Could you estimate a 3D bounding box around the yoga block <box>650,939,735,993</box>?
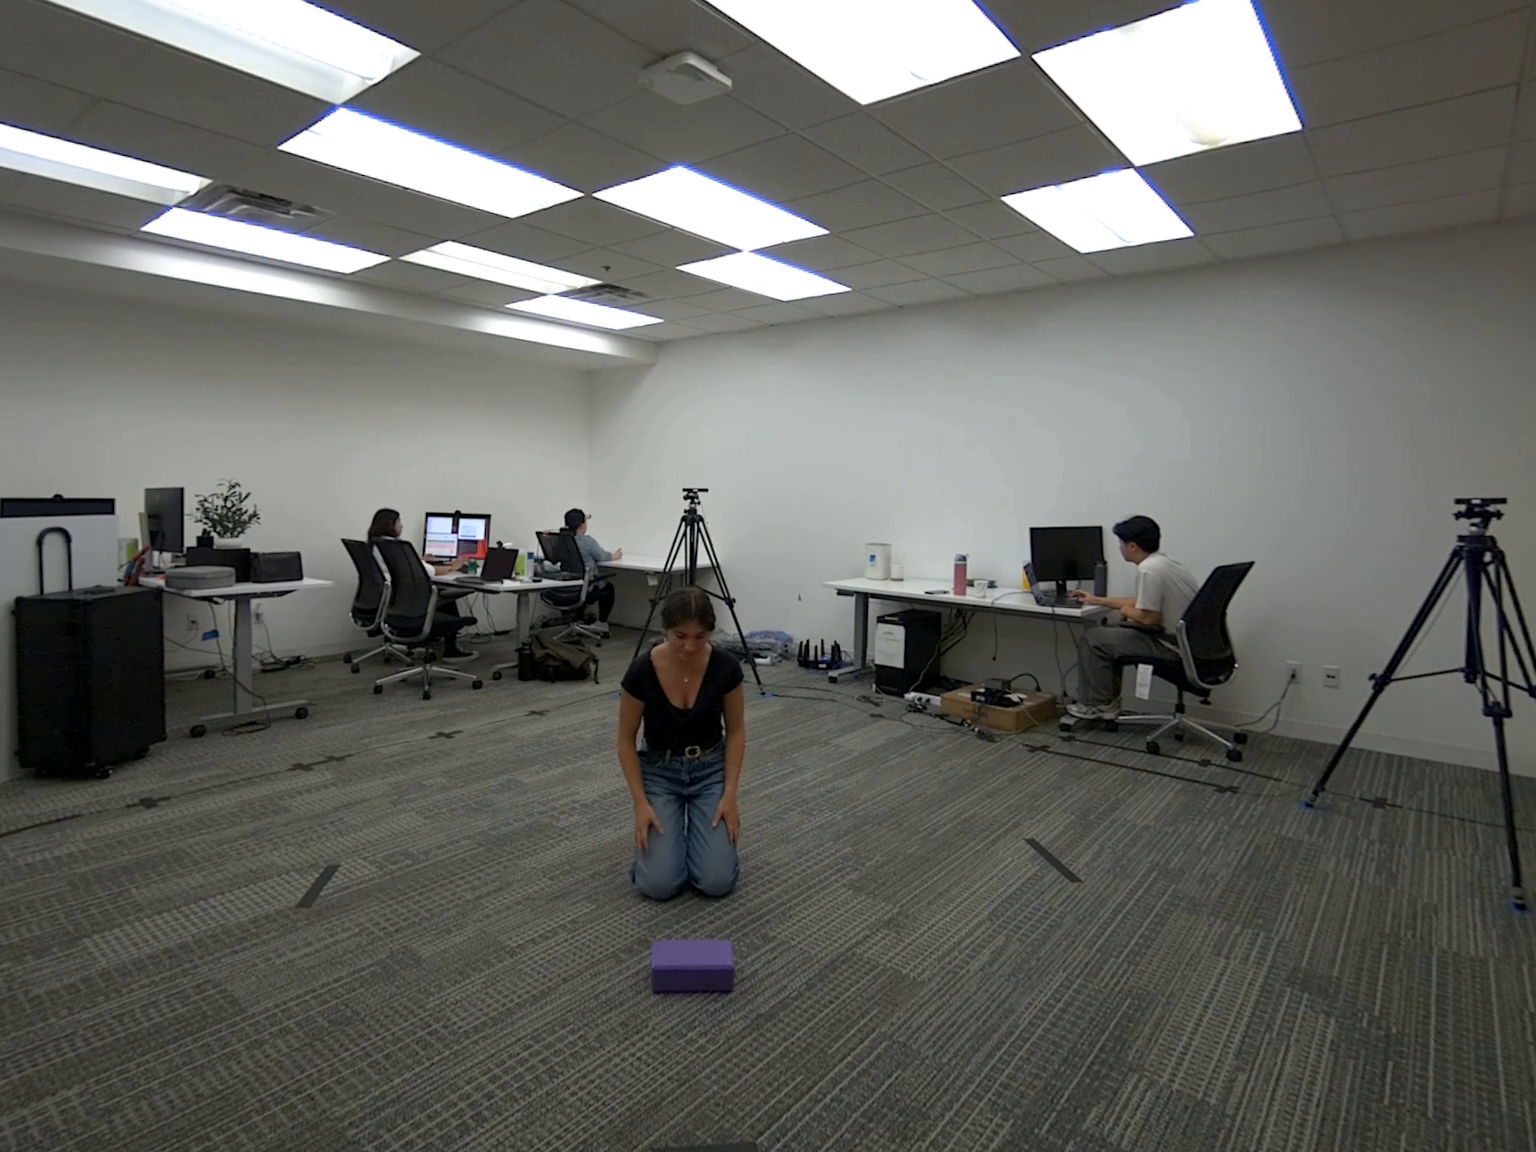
[{"bbox_3d":[-0.212,1.094,2.417,0.228,0.076,0.150,1,3,-4],"label":"yoga block"}]
